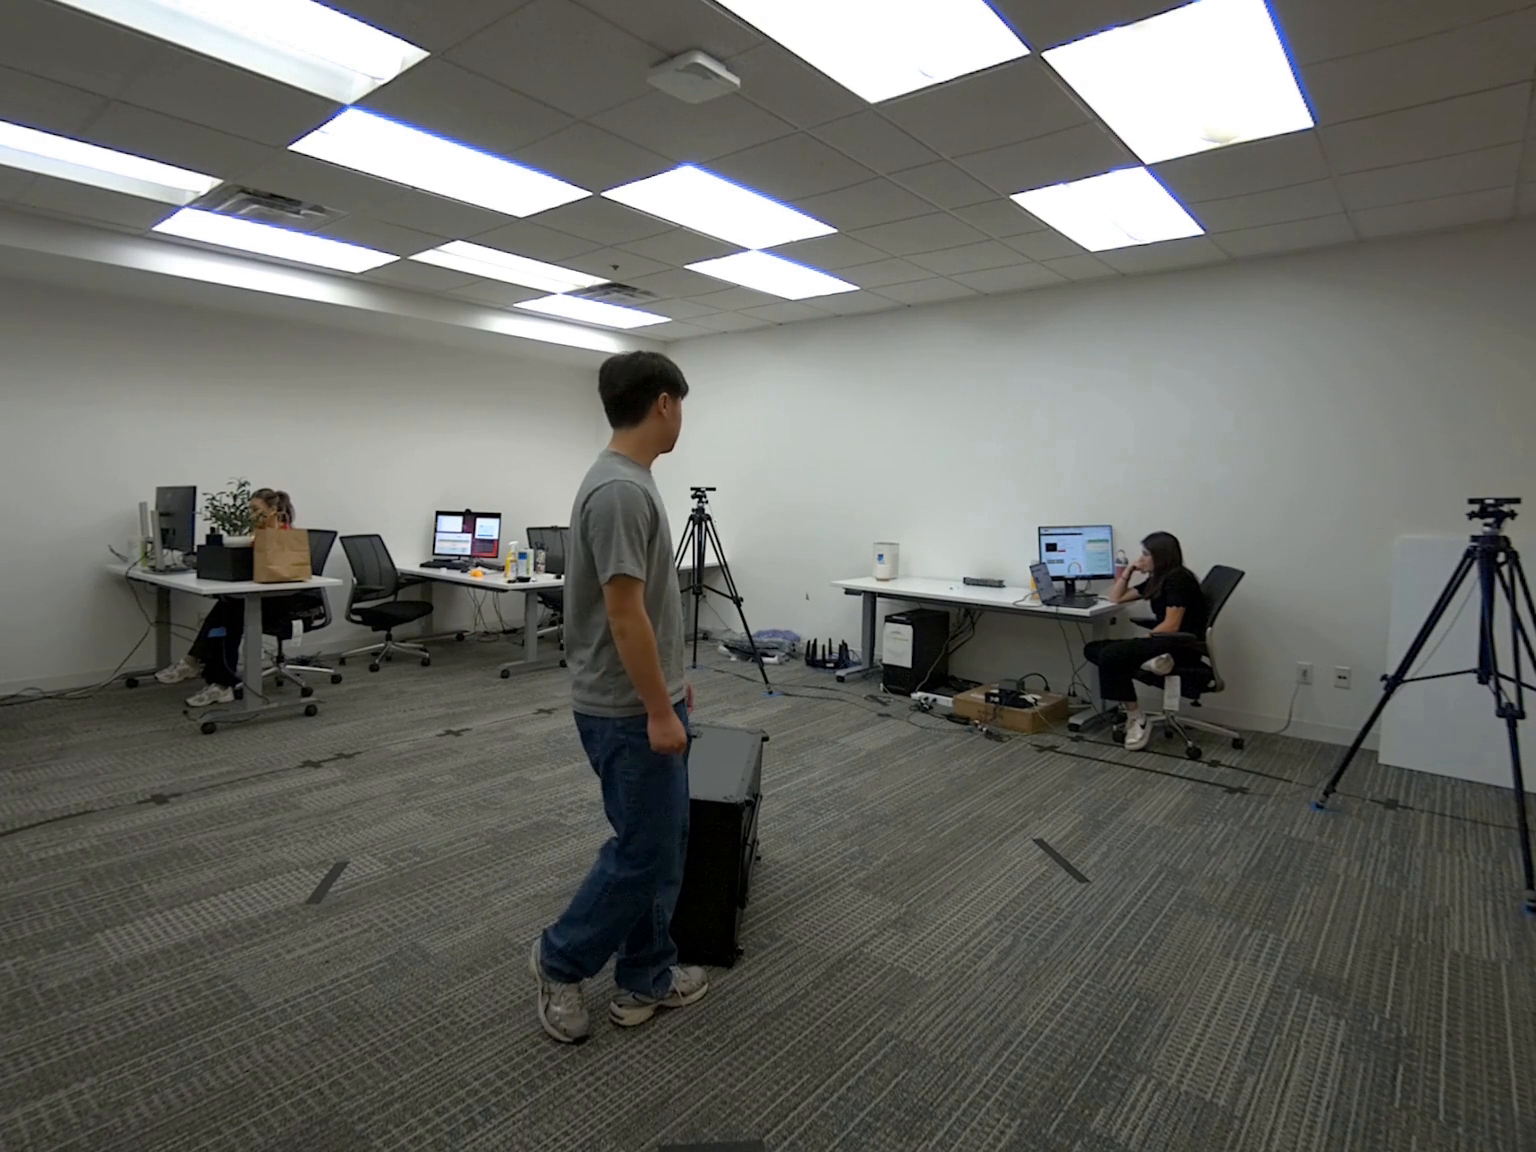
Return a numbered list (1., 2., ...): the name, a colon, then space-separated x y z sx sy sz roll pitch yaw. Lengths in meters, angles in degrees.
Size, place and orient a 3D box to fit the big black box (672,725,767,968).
1. big black box: -0.231 0.841 2.818 0.399 0.519 0.858 3 5 5
